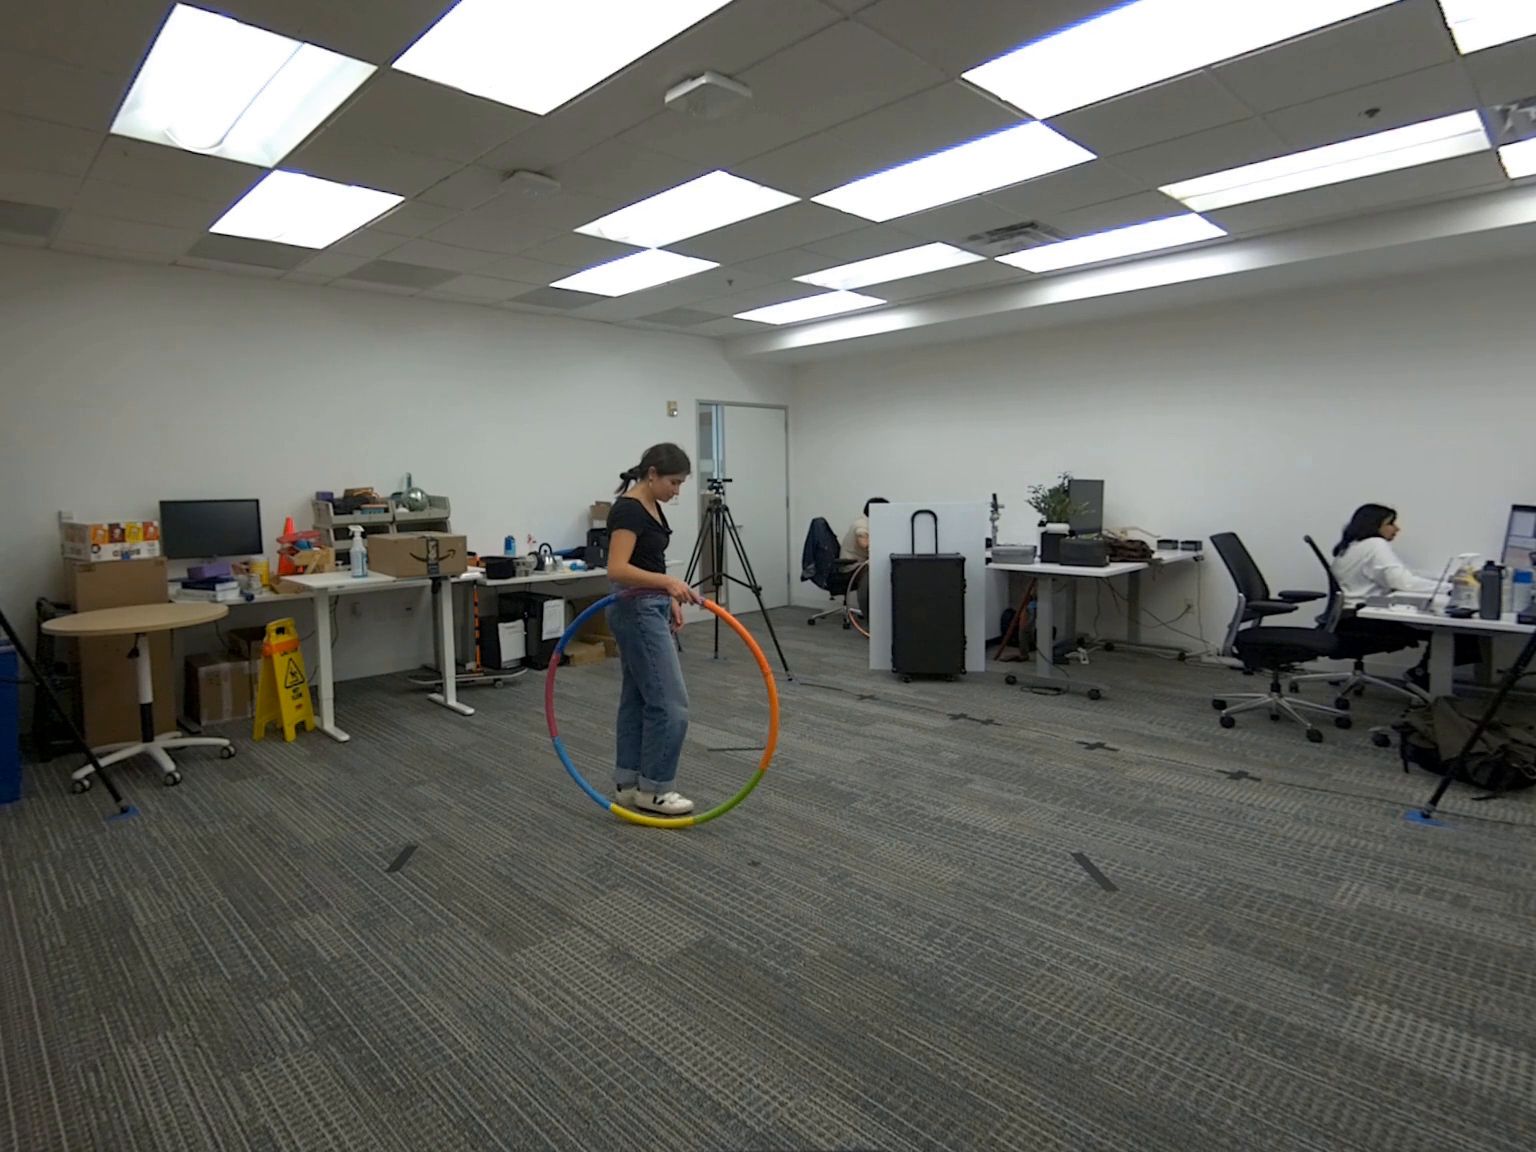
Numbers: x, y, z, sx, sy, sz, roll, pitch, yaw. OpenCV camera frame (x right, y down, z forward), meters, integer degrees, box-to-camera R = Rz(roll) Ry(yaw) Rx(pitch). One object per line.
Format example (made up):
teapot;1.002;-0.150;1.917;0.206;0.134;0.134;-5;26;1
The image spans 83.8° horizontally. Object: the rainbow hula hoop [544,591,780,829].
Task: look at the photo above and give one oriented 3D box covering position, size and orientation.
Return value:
rainbow hula hoop;-0.436;0.529;3.418;0.993;0.975;0.035;0;4;16
